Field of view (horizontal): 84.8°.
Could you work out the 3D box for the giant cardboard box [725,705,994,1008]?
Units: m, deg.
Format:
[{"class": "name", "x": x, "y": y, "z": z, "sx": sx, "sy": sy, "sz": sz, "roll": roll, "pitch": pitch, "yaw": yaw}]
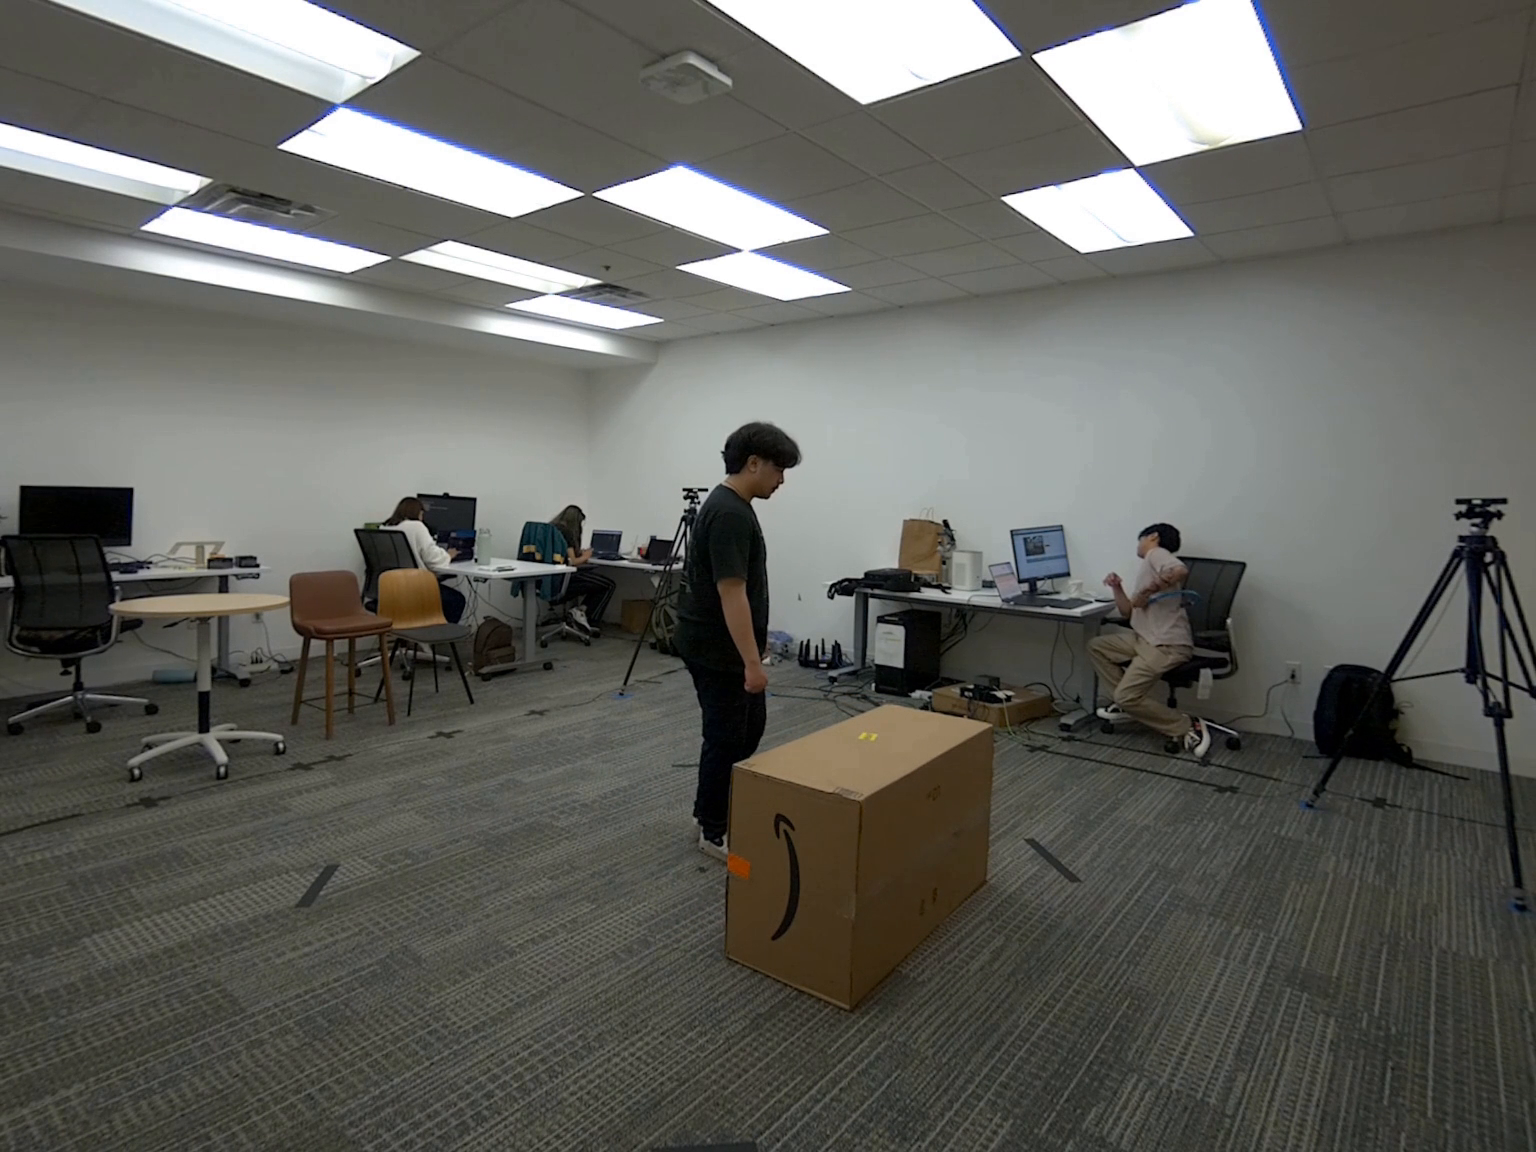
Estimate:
[{"class": "giant cardboard box", "x": 0.335, "y": 0.828, "z": 2.781, "sx": 0.461, "sy": 0.582, "sz": 0.997, "roll": 3, "pitch": 4, "yaw": 35}]
